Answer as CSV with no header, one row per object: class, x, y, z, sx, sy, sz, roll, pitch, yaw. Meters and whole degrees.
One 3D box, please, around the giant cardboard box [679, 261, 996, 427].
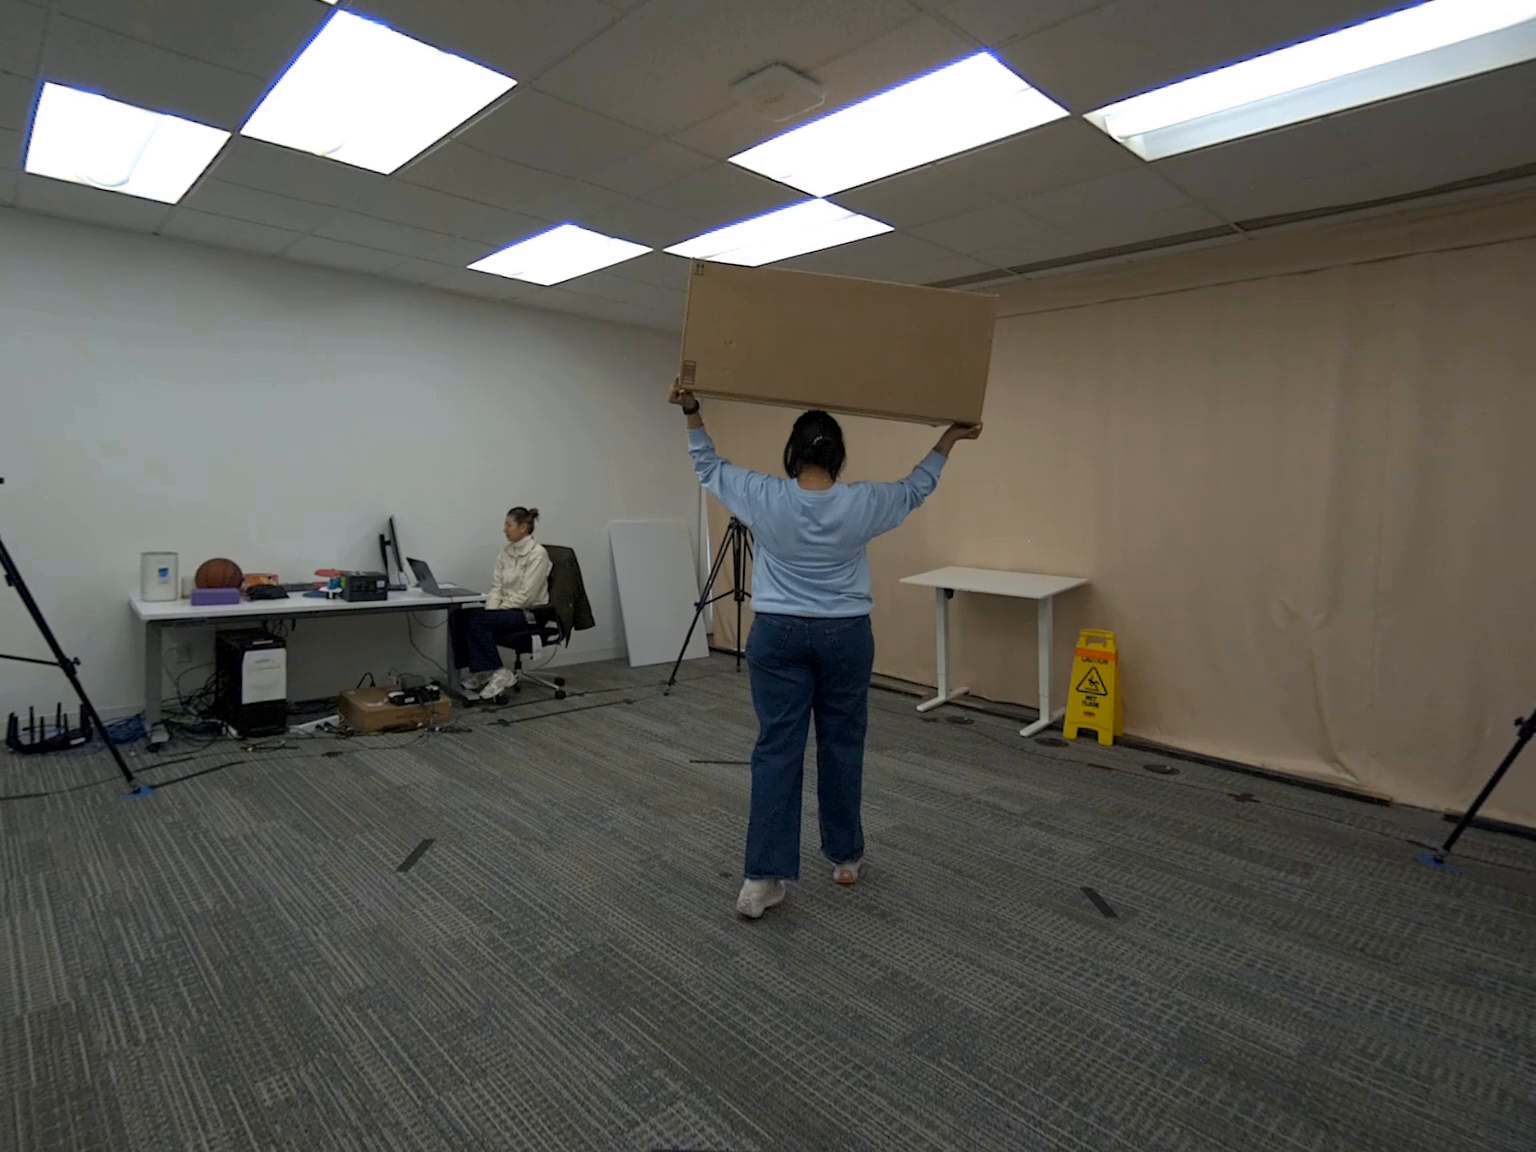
giant cardboard box,0.203,-0.816,3.045,1.023,0.424,0.582,6,8,-4
